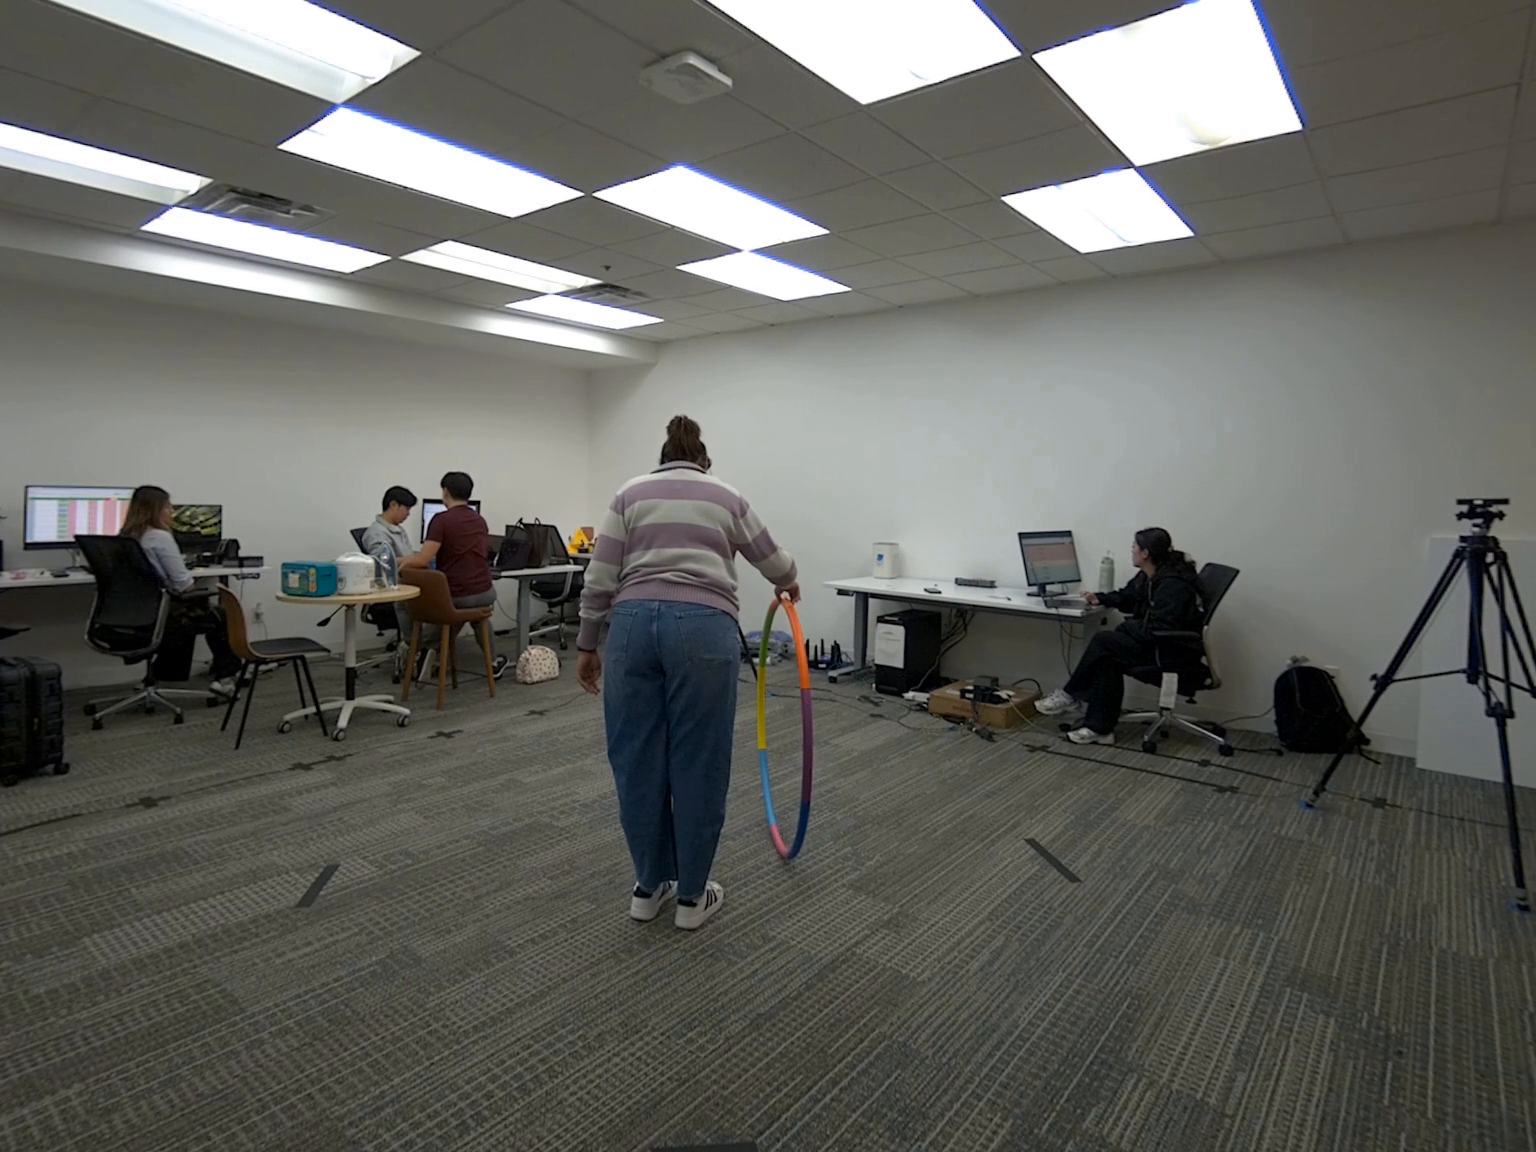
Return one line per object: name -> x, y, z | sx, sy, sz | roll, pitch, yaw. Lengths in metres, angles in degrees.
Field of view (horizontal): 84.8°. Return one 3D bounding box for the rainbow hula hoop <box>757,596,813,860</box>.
rainbow hula hoop -> 0.036, 0.568, 3.283 | 0.035, 0.976, 0.989 | 0, 4, -8
